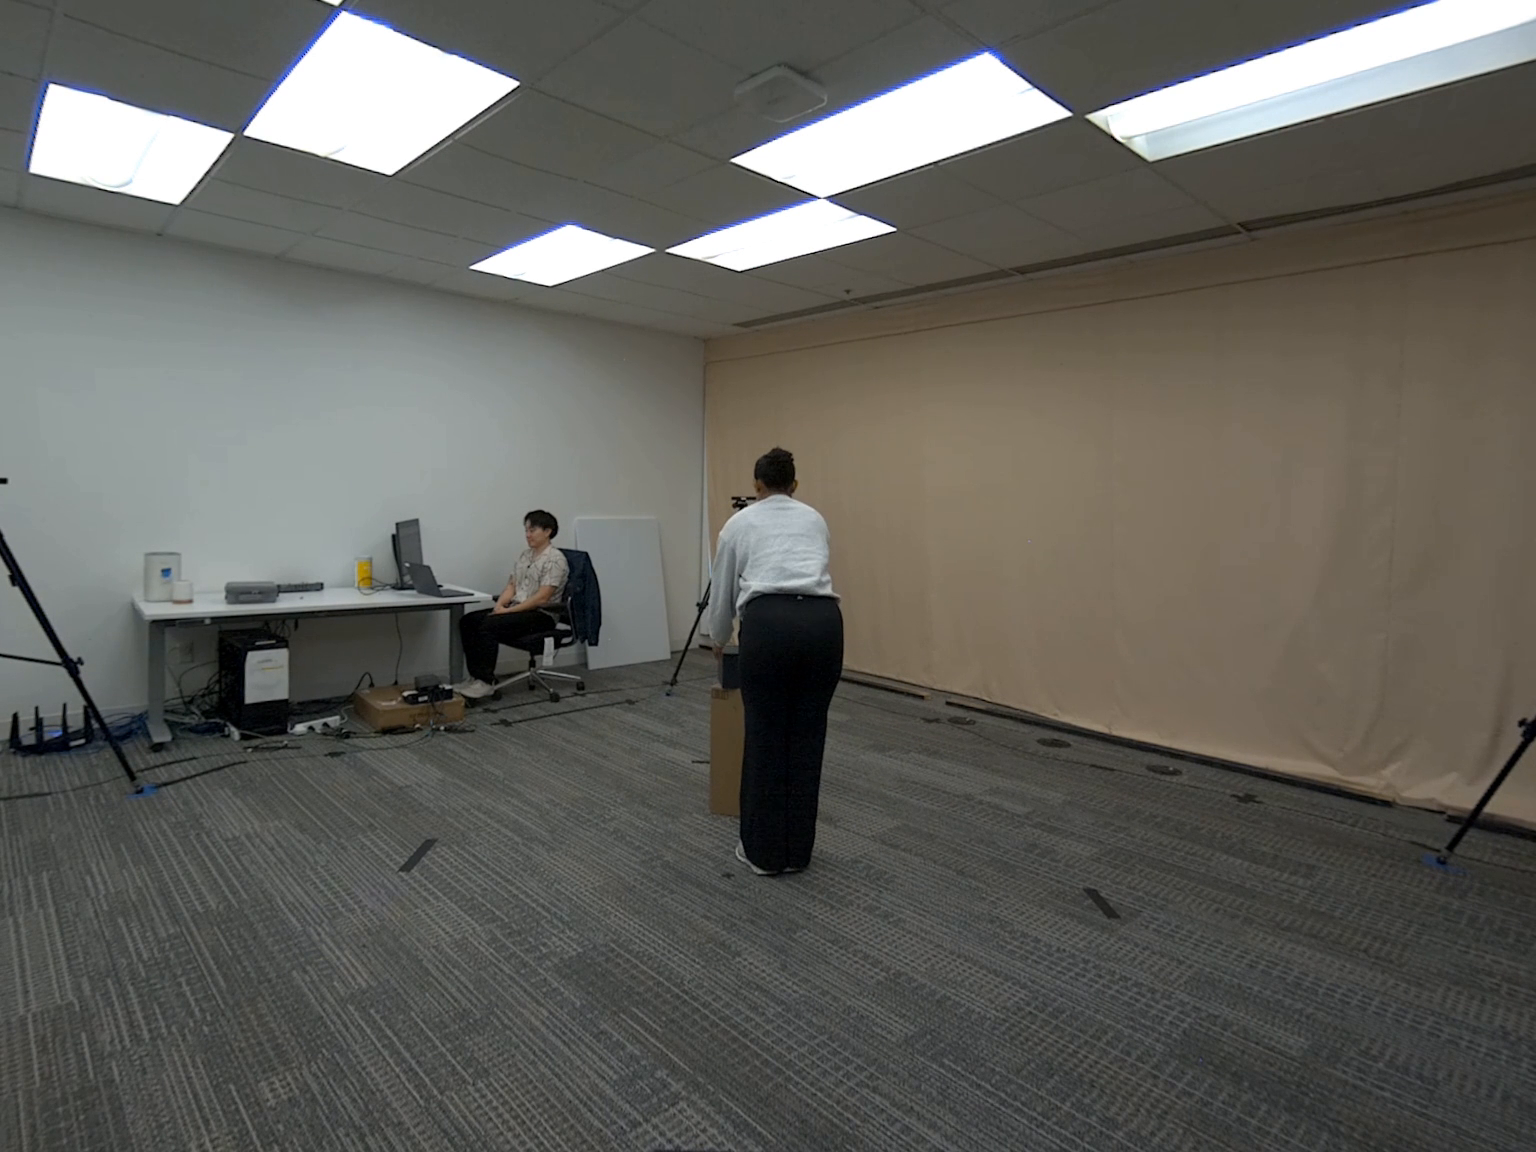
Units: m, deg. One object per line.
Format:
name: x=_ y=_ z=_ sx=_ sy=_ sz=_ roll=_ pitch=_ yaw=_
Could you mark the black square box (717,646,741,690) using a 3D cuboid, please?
black square box: x=-0.109 y=0.404 z=3.768 sx=0.216 sy=0.156 sz=0.229 roll=0 pitch=3 yaw=-7
